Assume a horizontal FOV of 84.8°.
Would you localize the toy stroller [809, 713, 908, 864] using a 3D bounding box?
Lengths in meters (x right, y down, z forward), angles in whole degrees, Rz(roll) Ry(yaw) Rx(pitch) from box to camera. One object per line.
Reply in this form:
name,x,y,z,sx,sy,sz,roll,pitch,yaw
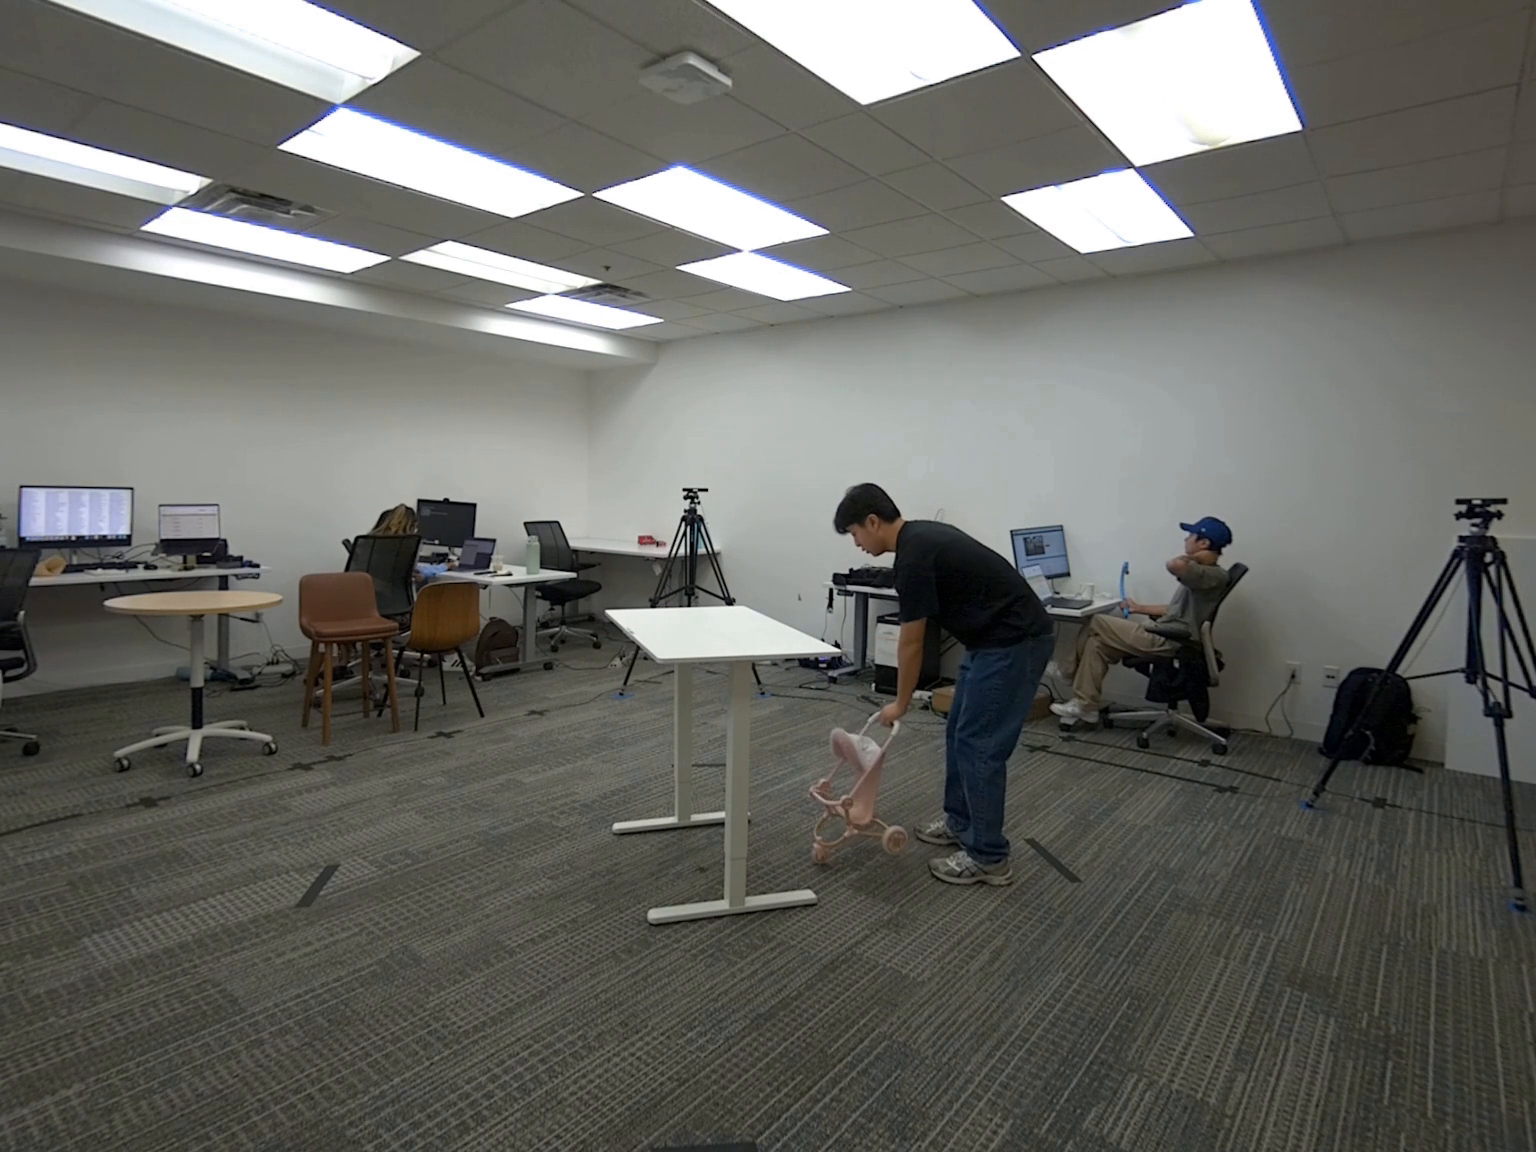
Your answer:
toy stroller,0.297,0.806,3.205,0.337,0.533,0.286,-1,4,-14
